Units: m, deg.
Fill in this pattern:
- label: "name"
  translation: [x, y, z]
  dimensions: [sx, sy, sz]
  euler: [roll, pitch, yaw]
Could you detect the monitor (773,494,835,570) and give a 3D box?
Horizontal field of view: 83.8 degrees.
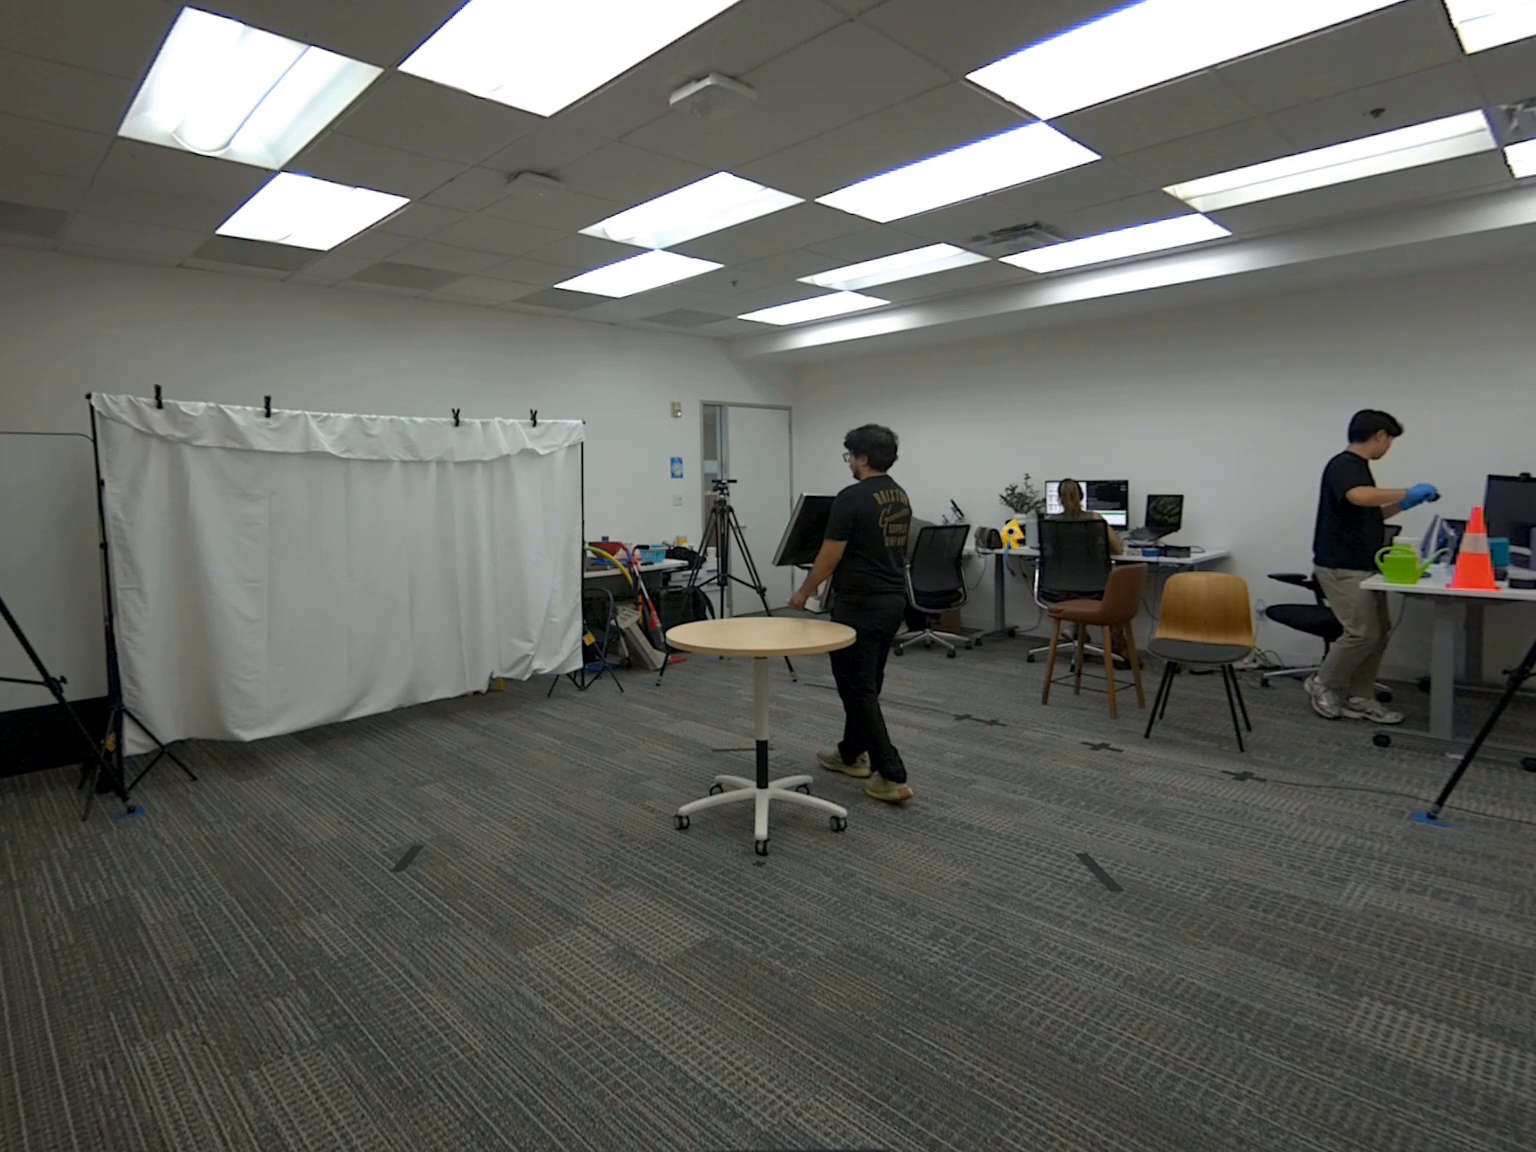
- label: "monitor"
  translation: [0.297, -0.109, 3.946]
  dimensions: [0.218, 0.548, 0.550]
  euler: [29, 21, 37]
